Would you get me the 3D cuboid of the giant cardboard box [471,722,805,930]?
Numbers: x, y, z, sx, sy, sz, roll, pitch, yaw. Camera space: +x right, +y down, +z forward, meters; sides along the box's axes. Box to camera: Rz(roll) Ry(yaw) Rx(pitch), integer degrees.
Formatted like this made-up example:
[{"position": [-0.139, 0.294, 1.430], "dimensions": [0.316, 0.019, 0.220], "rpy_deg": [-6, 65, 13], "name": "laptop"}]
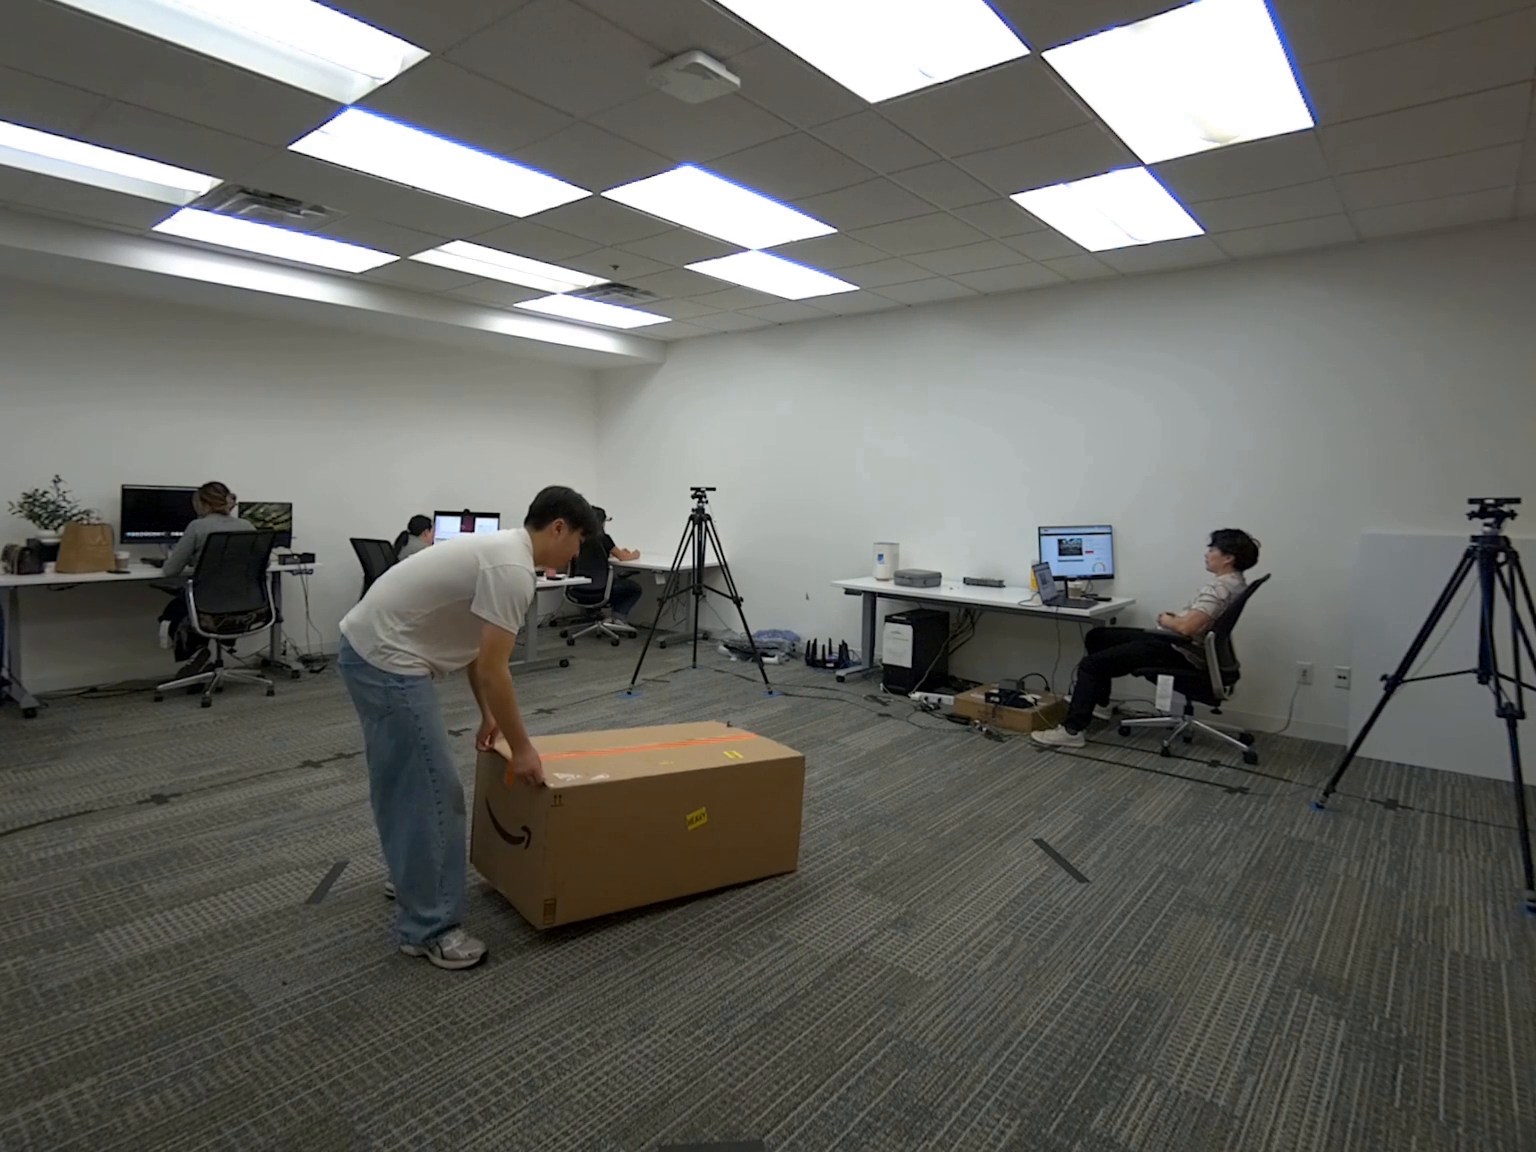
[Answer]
[{"position": [-0.463, 0.818, 3.023], "dimensions": [0.993, 0.426, 0.597], "rpy_deg": [2, 3, -38], "name": "giant cardboard box"}]
